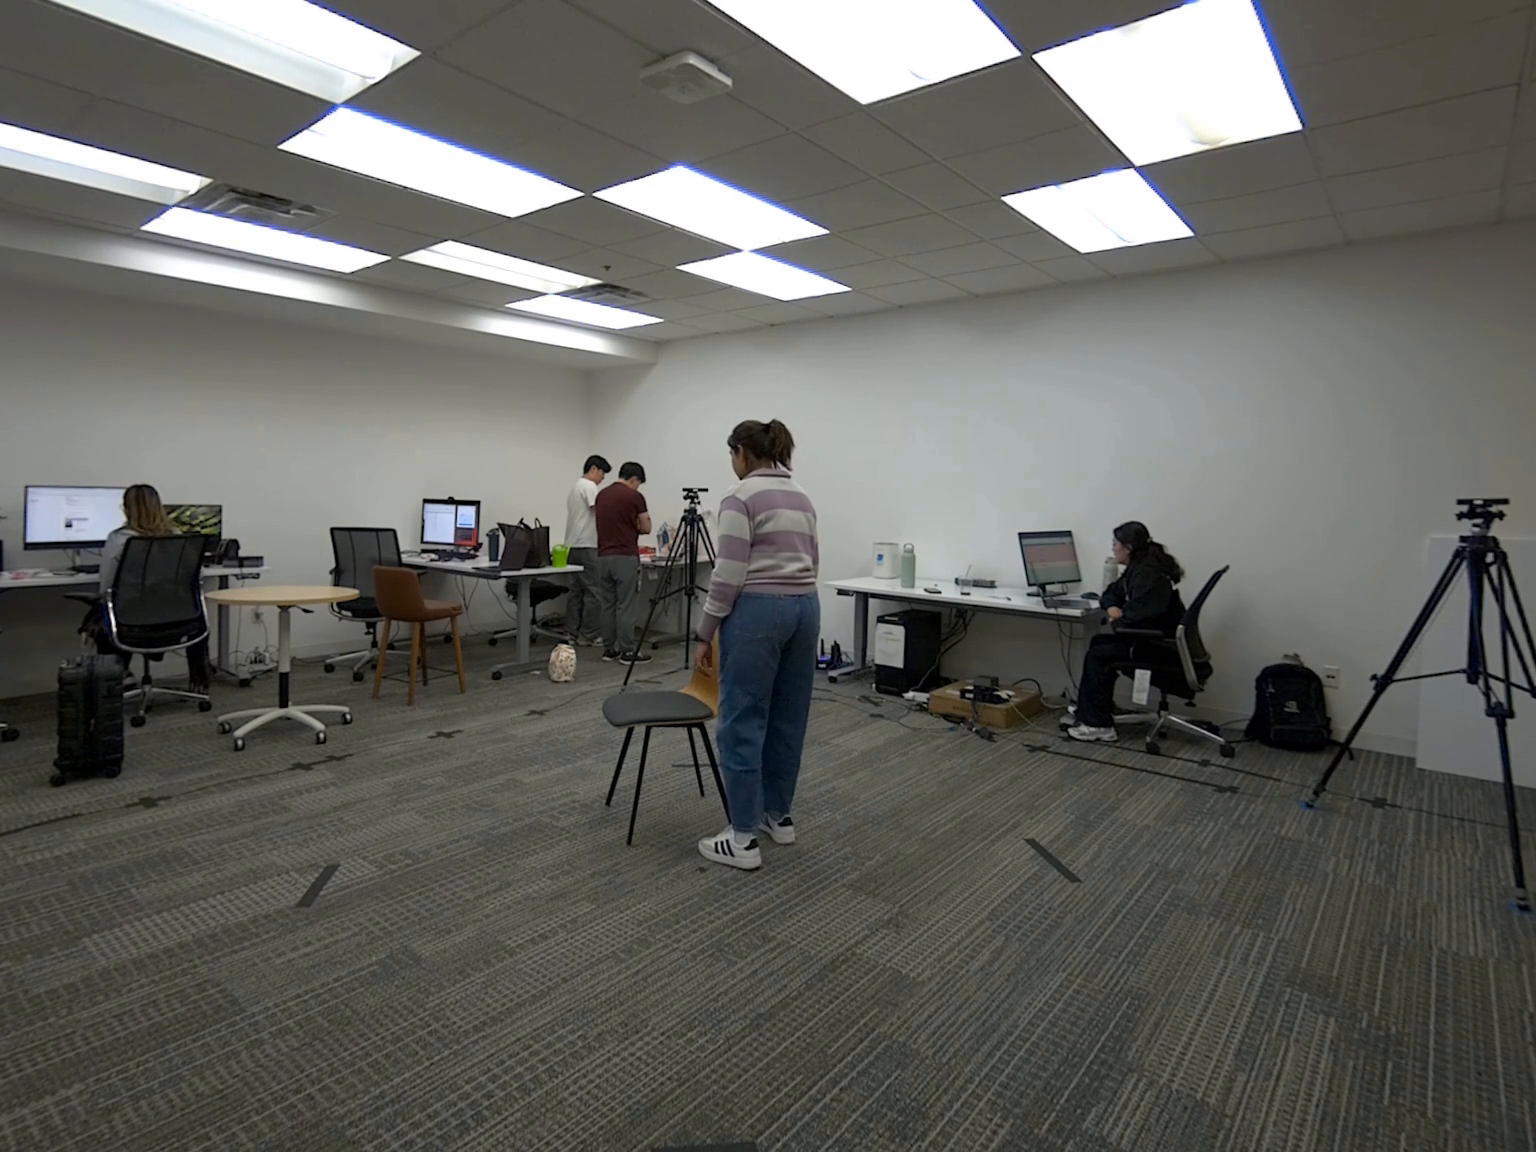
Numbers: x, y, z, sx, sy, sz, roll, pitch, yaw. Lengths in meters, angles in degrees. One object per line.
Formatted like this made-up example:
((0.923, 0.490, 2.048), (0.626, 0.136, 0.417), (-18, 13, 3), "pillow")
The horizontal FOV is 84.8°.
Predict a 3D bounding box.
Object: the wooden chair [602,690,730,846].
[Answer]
((-0.434, 0.598, 3.558), (0.512, 0.876, 0.490), (4, 3, -21), "wooden chair")
